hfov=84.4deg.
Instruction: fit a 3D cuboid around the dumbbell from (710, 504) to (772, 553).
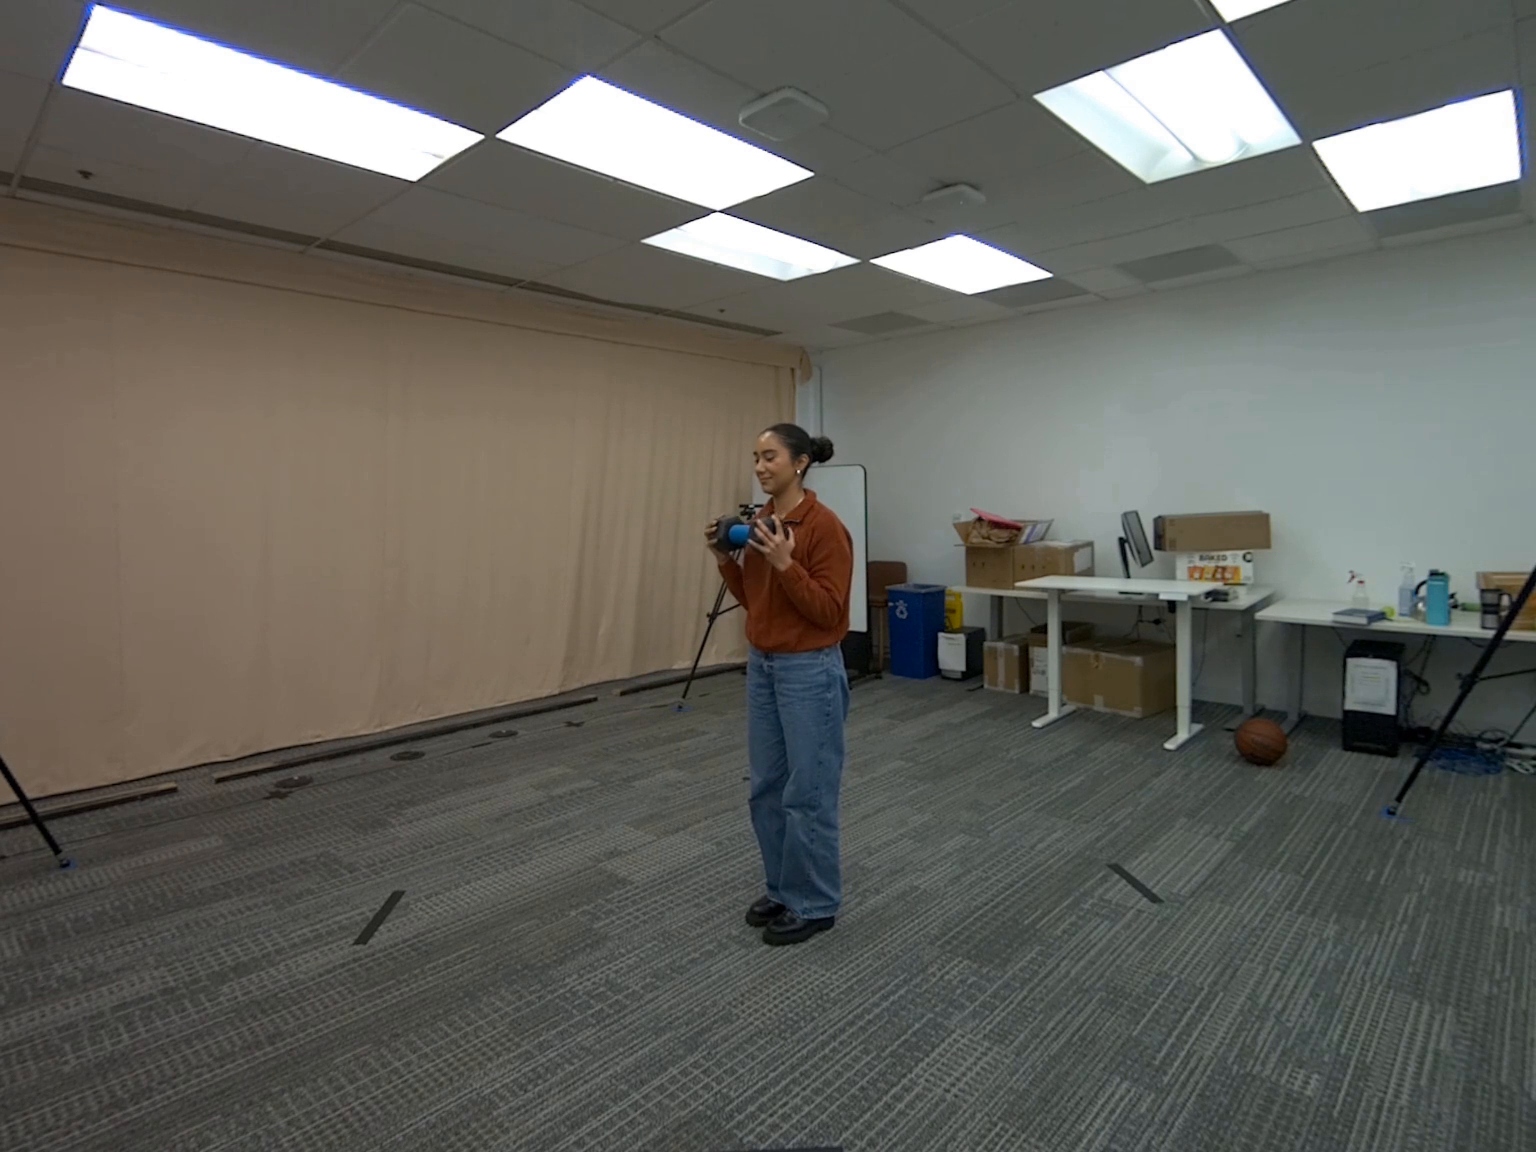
[{"bbox_3d":[-0.055,-0.117,2.641,0.303,0.108,0.119,8,-35,52],"label":"dumbbell"}]
